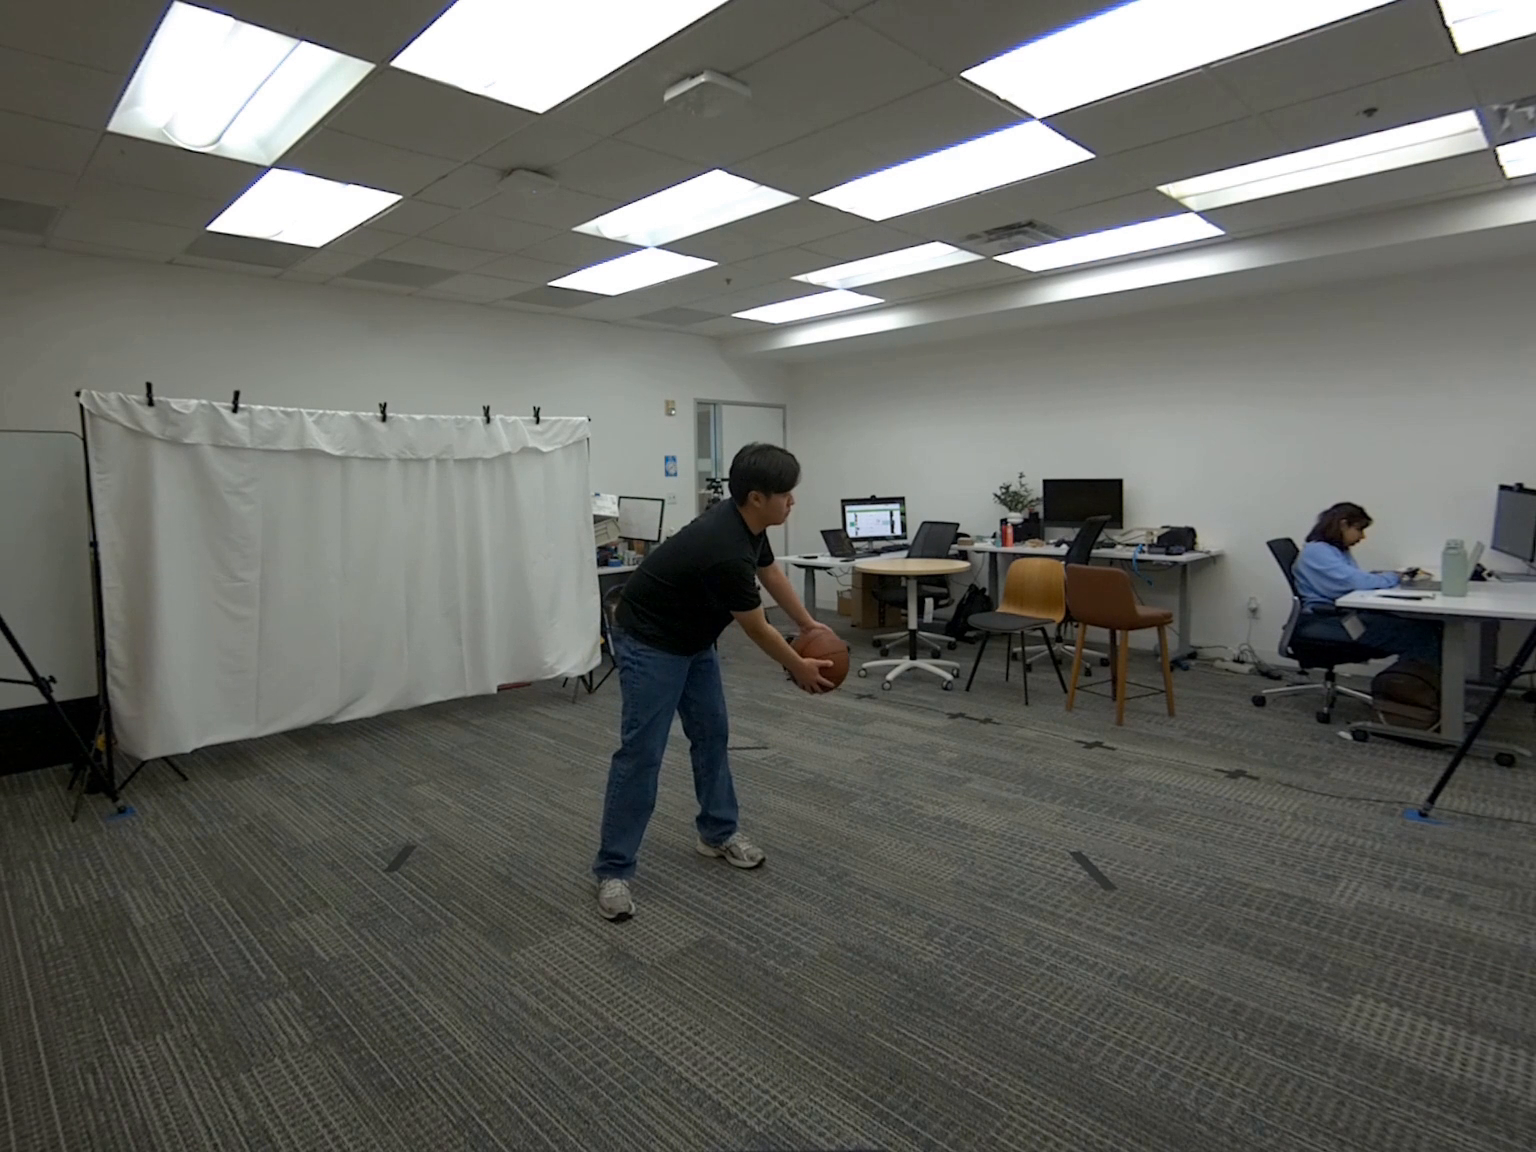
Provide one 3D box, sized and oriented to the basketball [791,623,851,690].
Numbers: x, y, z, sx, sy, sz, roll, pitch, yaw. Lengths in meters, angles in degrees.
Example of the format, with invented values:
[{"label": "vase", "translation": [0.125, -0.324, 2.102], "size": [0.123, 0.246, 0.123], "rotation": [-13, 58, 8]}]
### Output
[{"label": "basketball", "translation": [0.180, 0.321, 3.179], "size": [0.236, 0.235, 0.237], "rotation": [-1, 5, -2]}]
